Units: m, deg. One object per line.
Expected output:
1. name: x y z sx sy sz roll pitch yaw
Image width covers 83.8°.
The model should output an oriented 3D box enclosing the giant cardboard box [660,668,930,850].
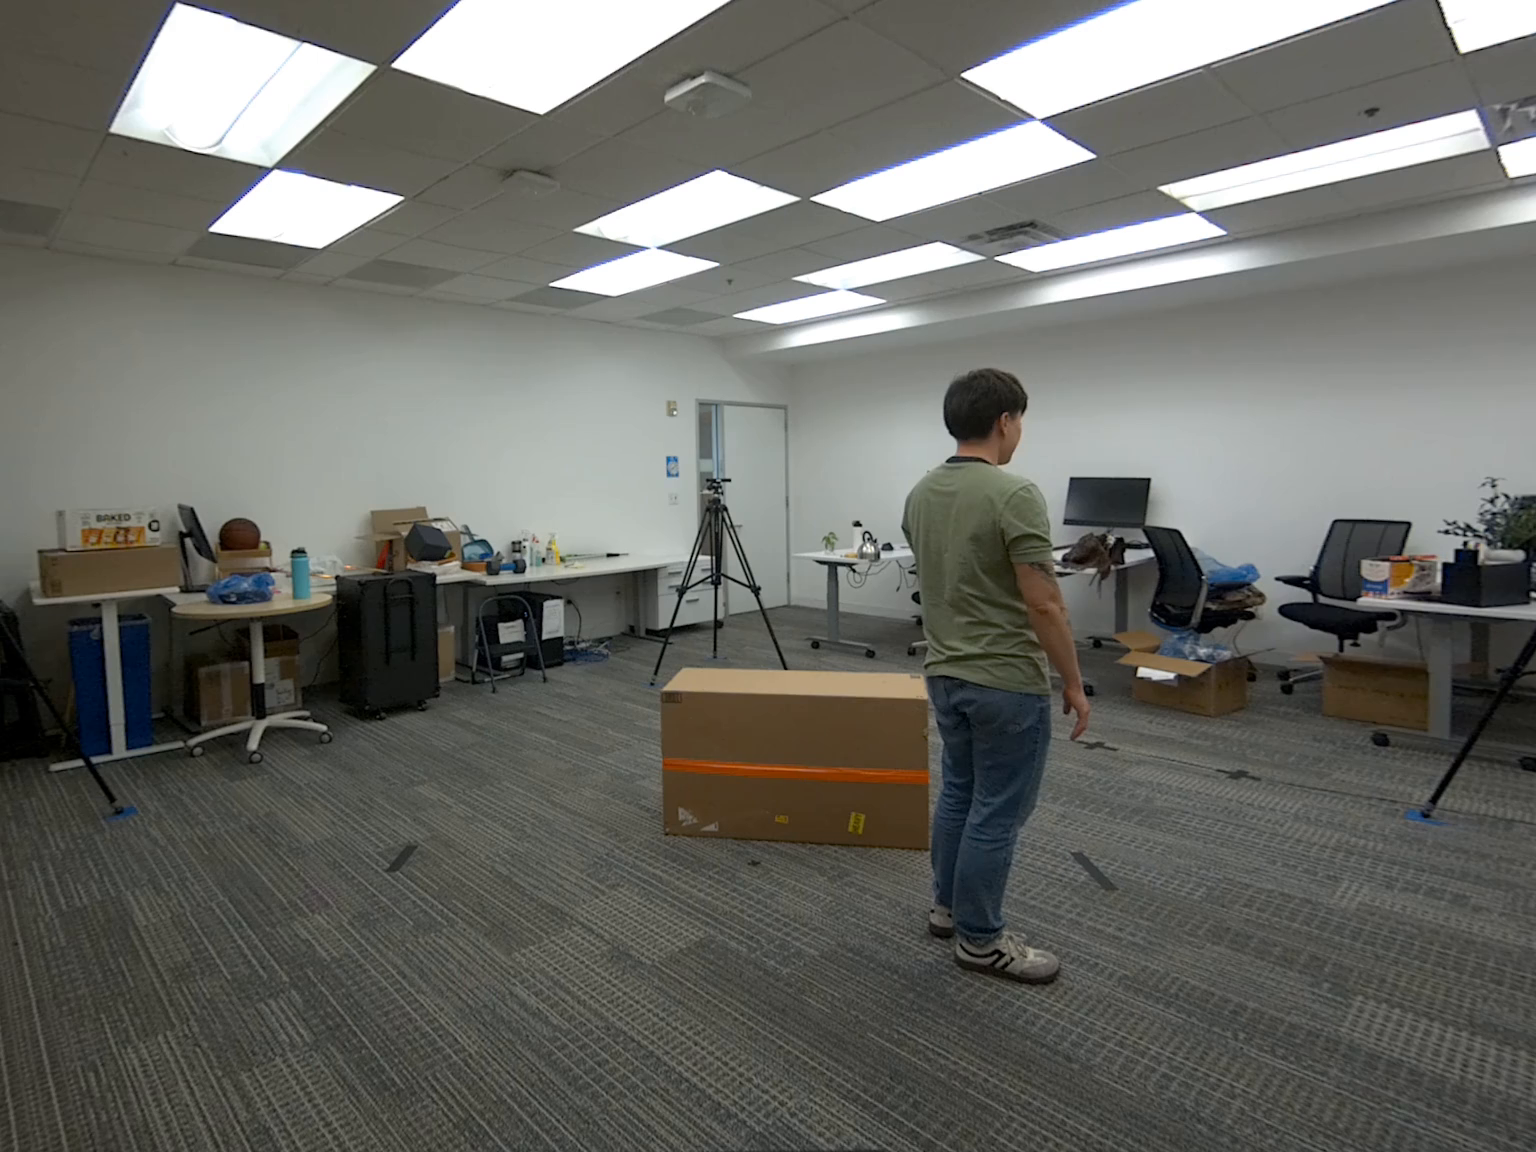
1. giant cardboard box: 0.117 0.709 3.458 1.036 0.575 0.424 0 5 10
